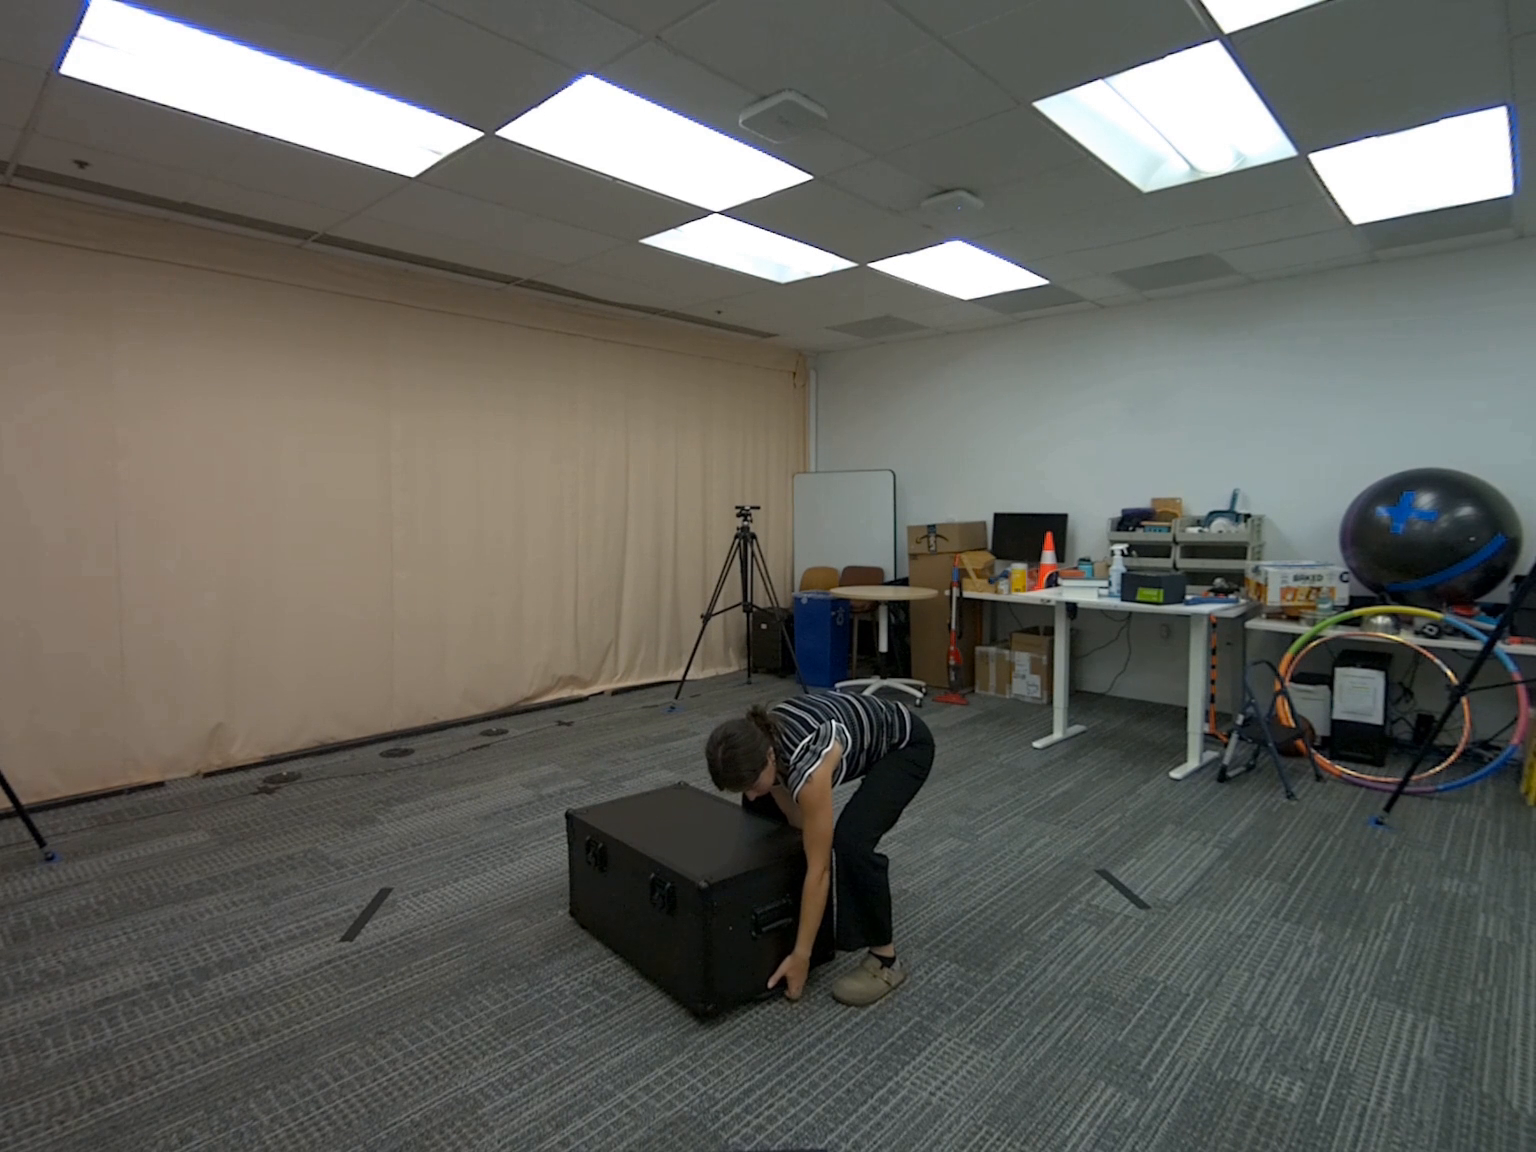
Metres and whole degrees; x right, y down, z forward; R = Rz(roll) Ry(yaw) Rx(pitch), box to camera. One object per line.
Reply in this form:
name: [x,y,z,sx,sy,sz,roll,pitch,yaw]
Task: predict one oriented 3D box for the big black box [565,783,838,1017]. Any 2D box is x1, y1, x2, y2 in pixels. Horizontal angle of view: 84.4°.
big black box: [-0.266,0.979,2.694,0.505,0.395,0.890,-3,5,-40]
